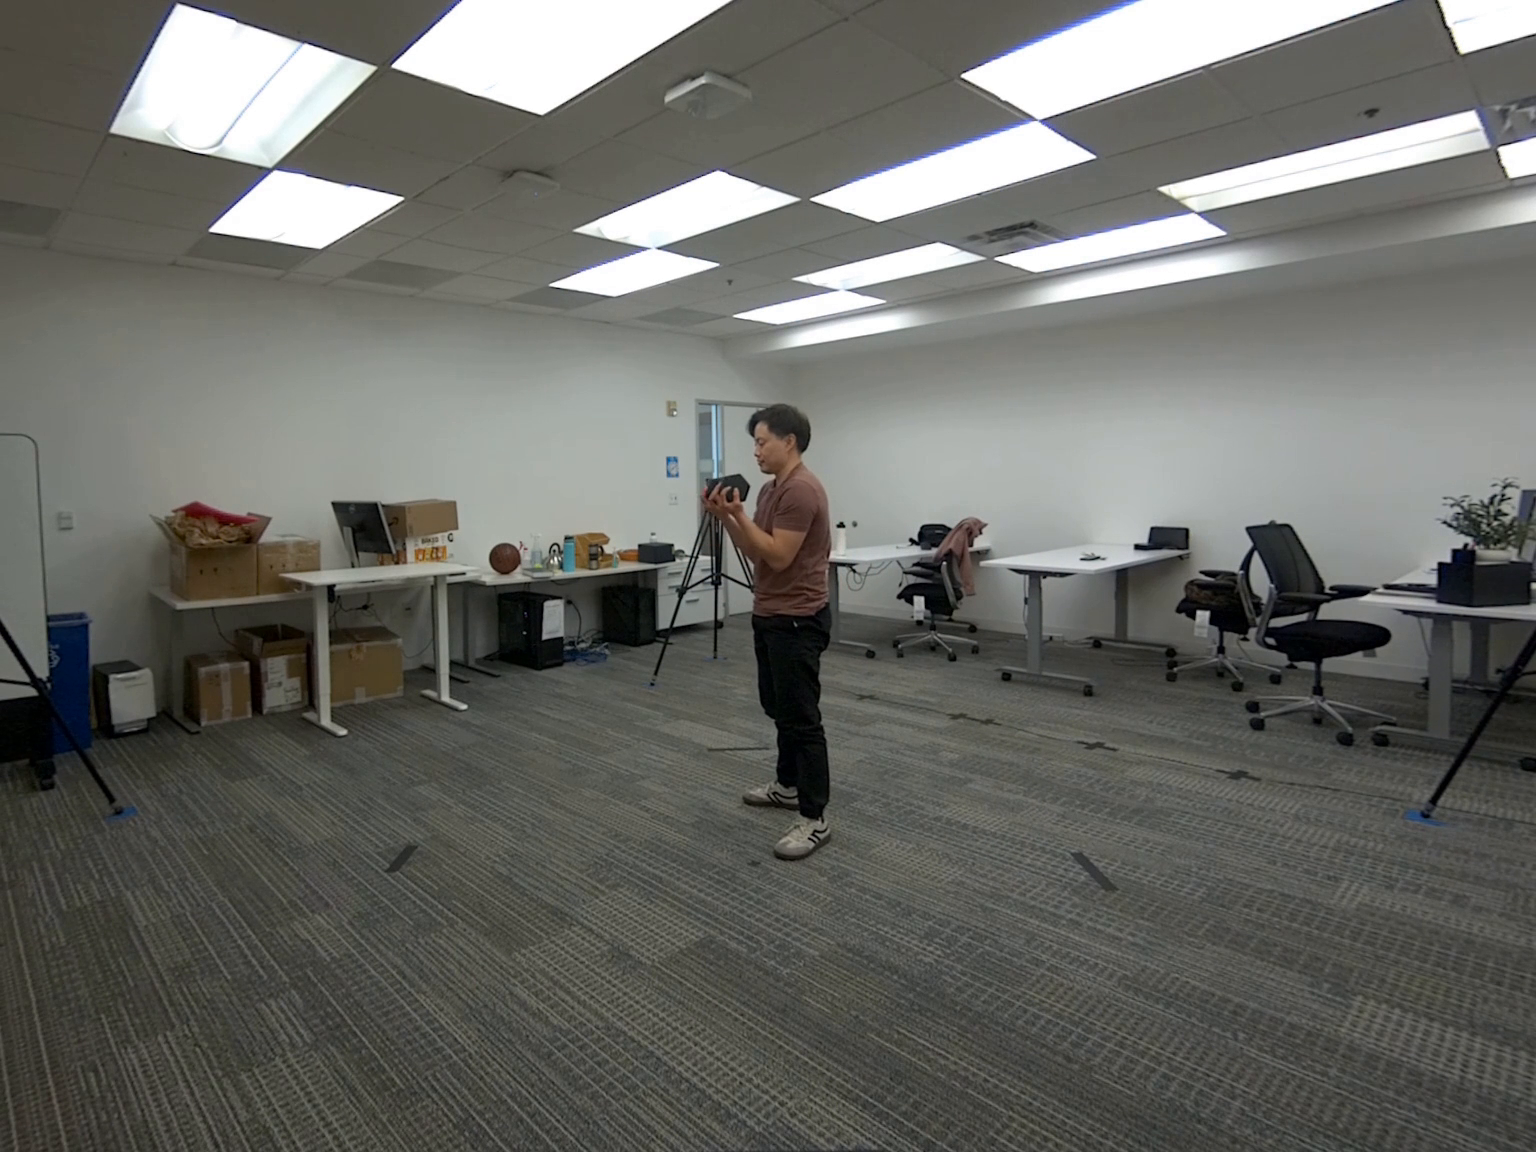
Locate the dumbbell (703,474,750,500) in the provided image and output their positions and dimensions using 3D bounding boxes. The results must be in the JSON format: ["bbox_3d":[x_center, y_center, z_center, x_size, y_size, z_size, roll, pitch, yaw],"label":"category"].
[{"bbox_3d":[-0.158,-0.329,3.328,0.121,0.109,0.298,43,-10,-13],"label":"dumbbell"}]
